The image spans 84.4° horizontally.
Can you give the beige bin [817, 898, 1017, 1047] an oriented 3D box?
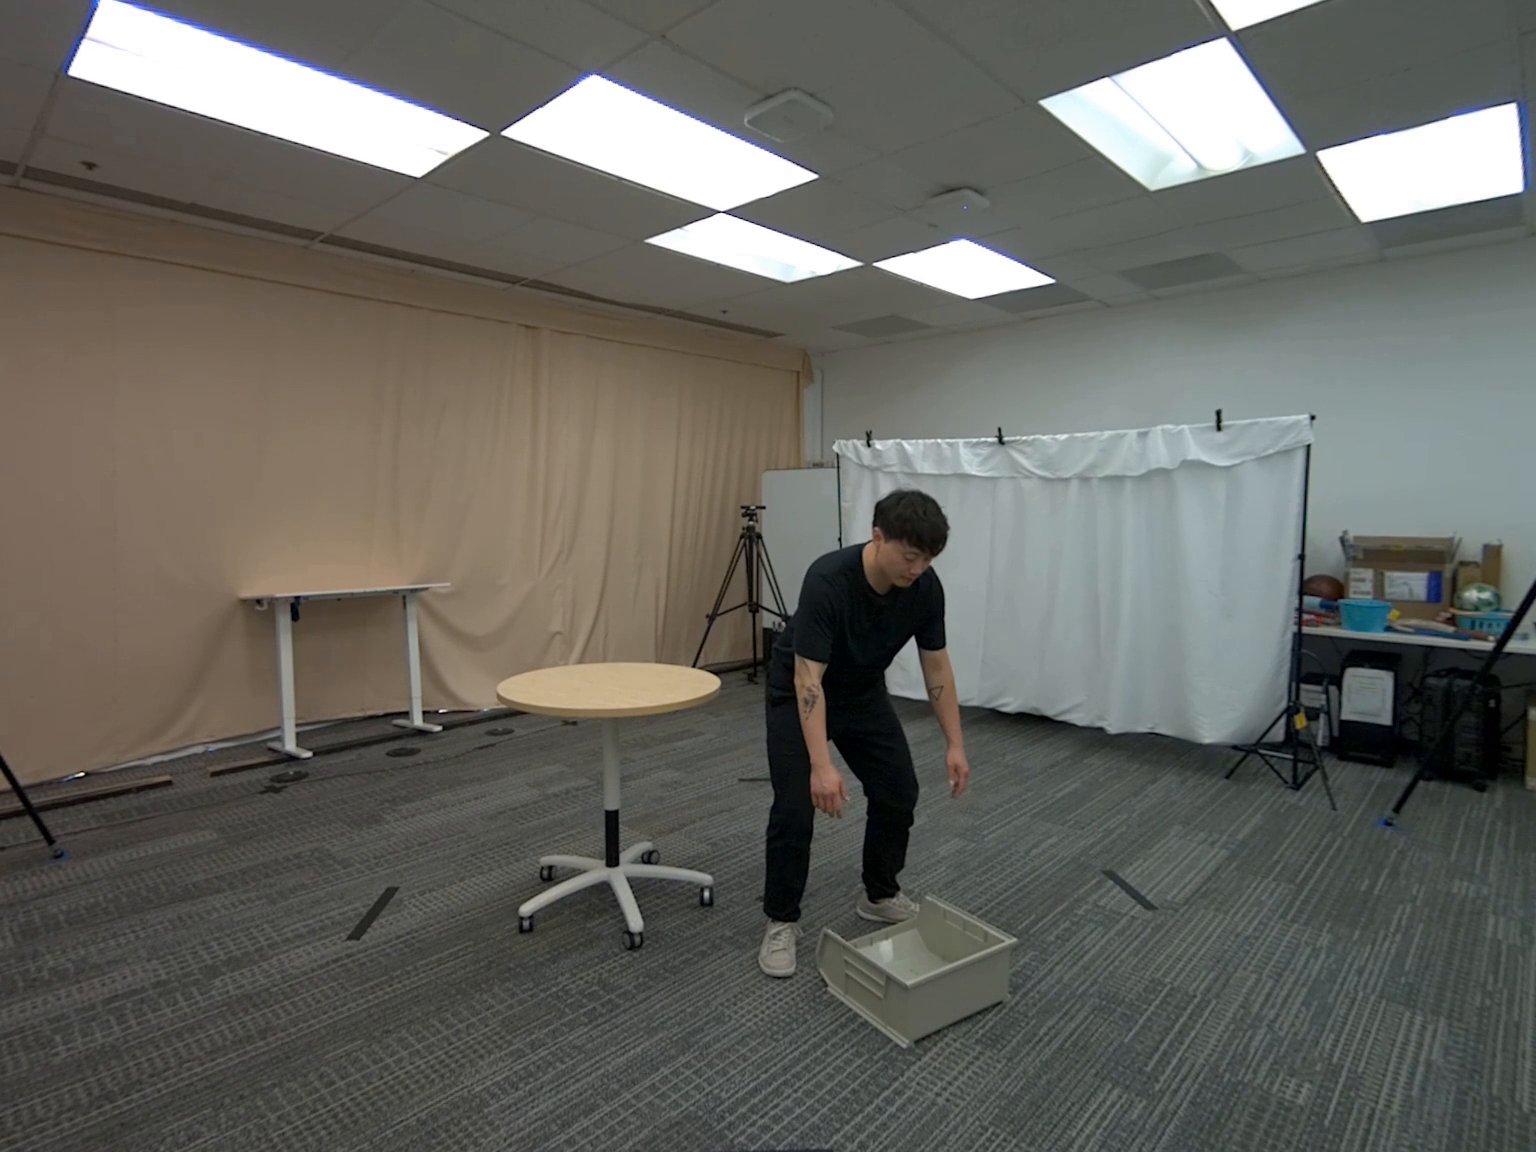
[{"bbox_3d":[0.424,1.105,2.402,0.410,0.188,0.389,-3,5,-34],"label":"beige bin"}]
